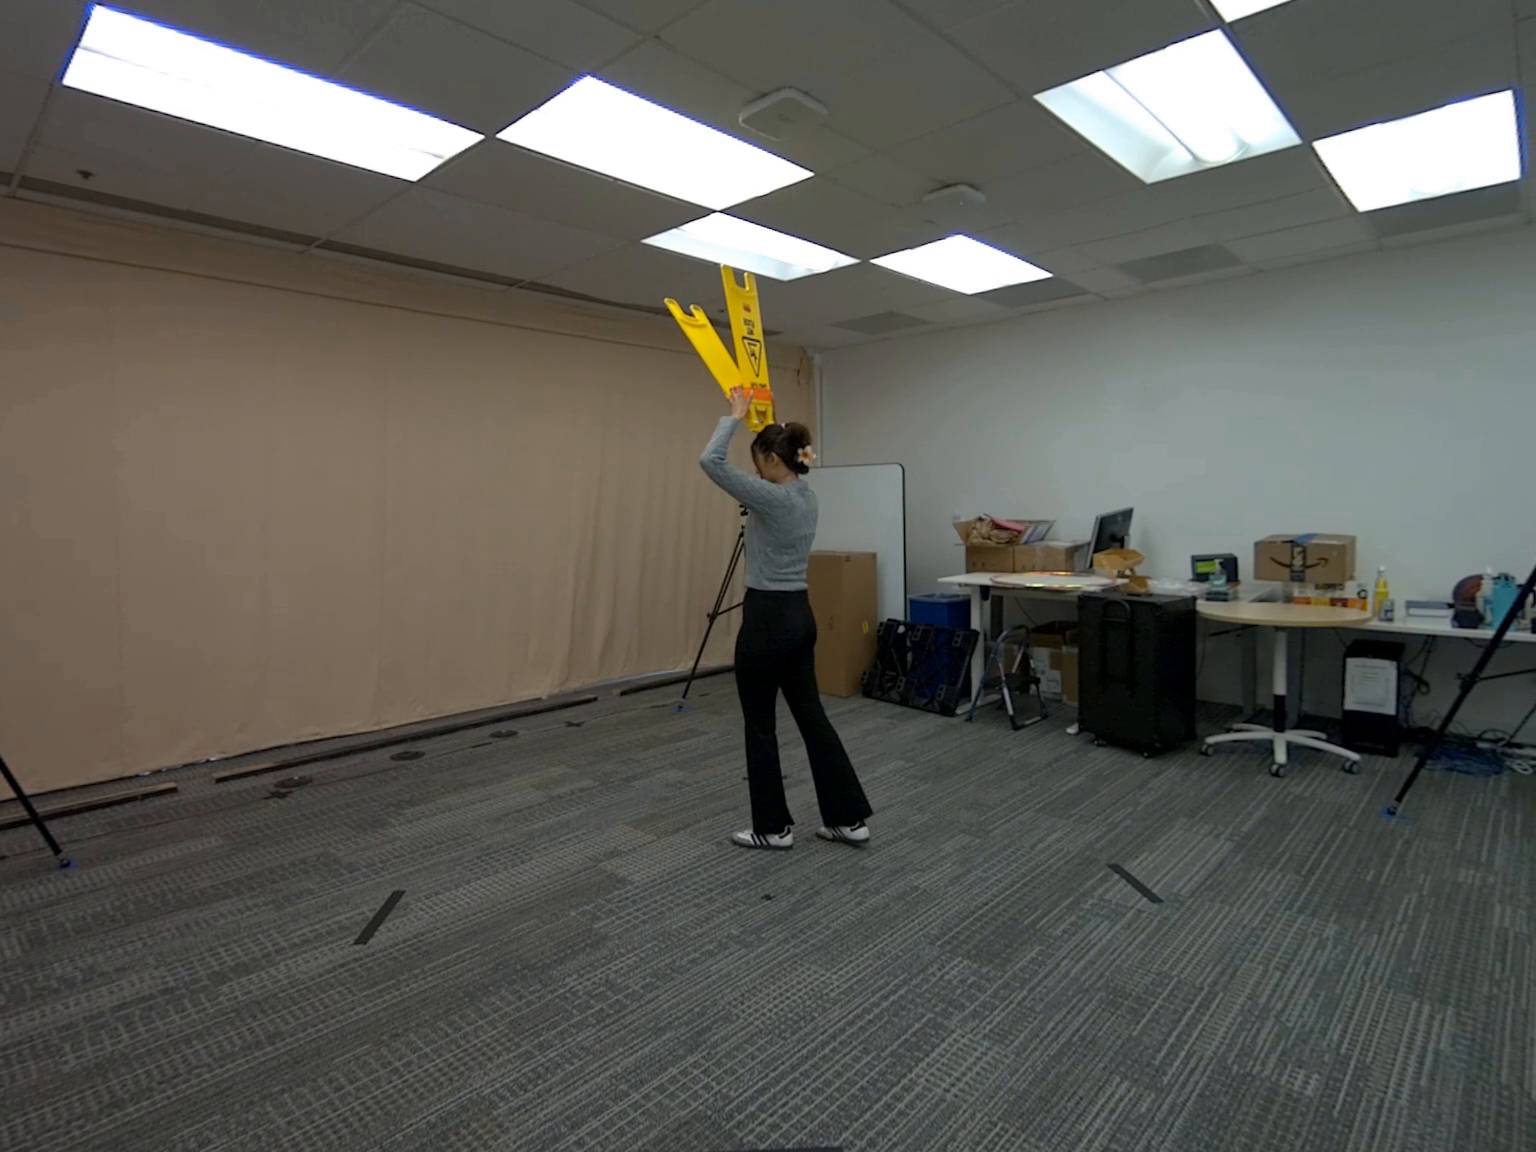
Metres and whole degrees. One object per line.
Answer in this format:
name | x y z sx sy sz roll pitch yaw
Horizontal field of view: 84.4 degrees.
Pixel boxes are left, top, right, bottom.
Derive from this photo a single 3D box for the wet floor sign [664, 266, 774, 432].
wet floor sign | -0.125 -0.886 3.441 0.295 0.649 0.276 -23 -5 29
